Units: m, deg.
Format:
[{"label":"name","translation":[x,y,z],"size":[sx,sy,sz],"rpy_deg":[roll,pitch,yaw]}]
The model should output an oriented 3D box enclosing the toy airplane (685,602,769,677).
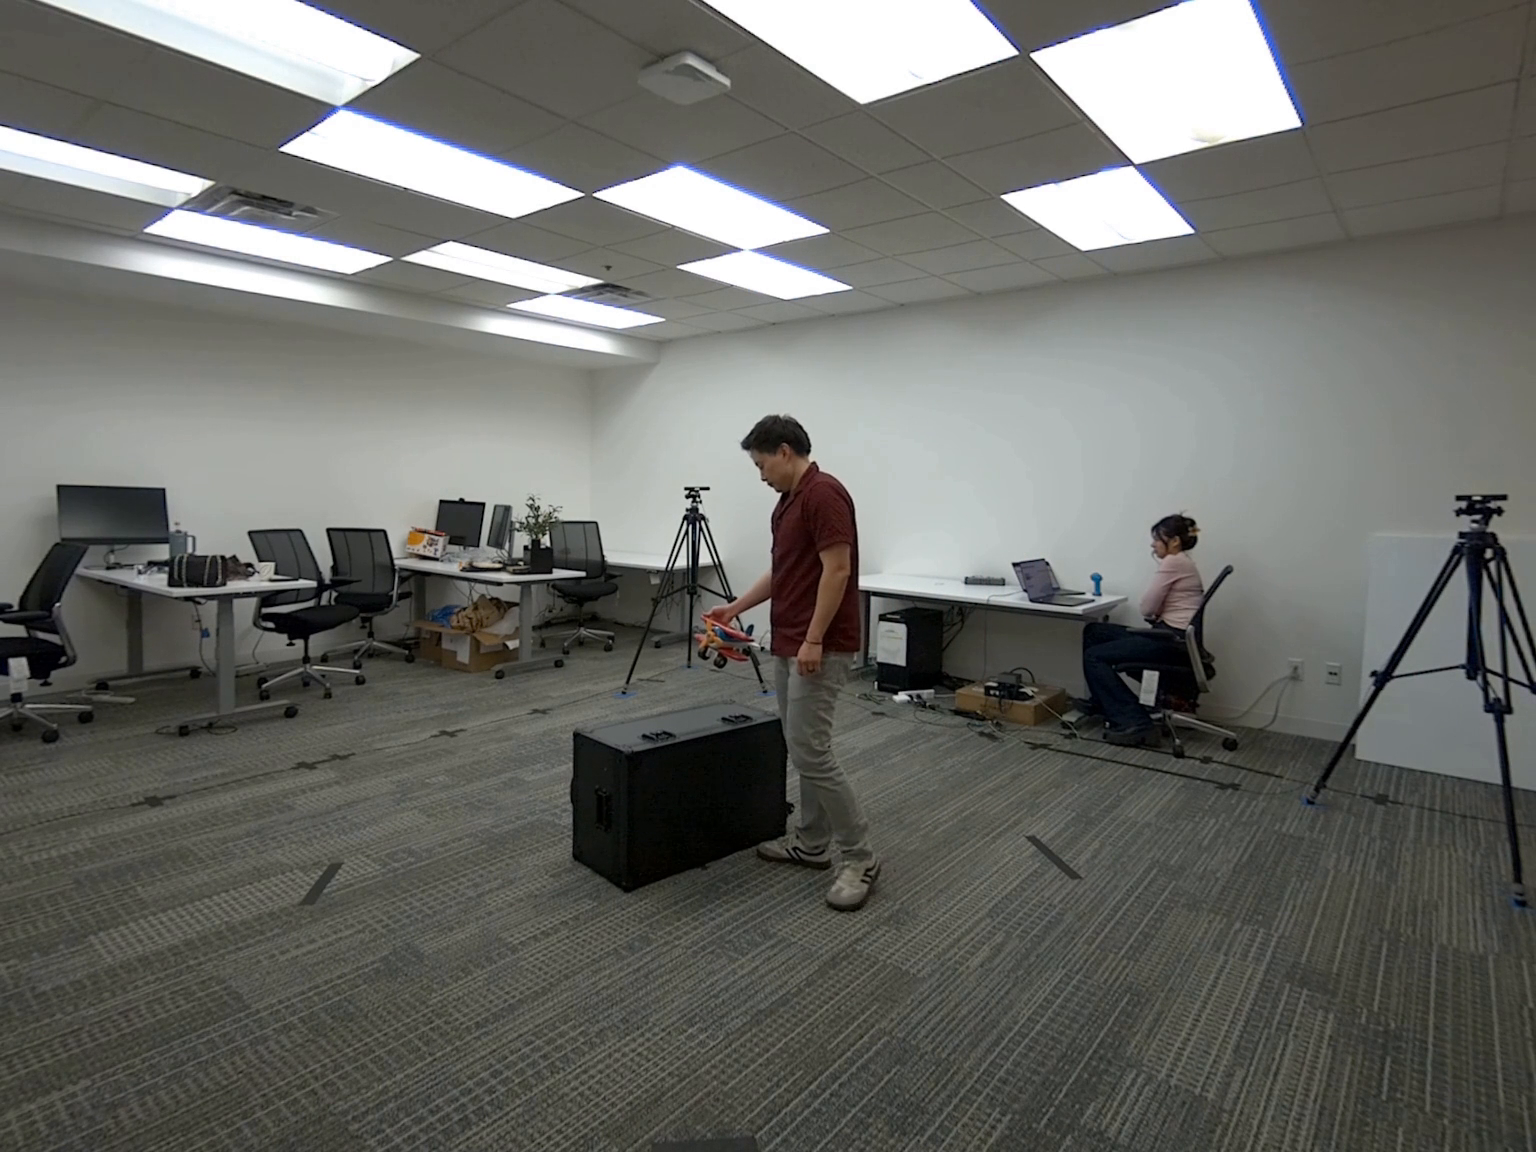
[{"label":"toy airplane","translation":[-0.160,0.243,3.320],"size":[0.255,0.154,0.258],"rpy_deg":[13,17,11]}]
